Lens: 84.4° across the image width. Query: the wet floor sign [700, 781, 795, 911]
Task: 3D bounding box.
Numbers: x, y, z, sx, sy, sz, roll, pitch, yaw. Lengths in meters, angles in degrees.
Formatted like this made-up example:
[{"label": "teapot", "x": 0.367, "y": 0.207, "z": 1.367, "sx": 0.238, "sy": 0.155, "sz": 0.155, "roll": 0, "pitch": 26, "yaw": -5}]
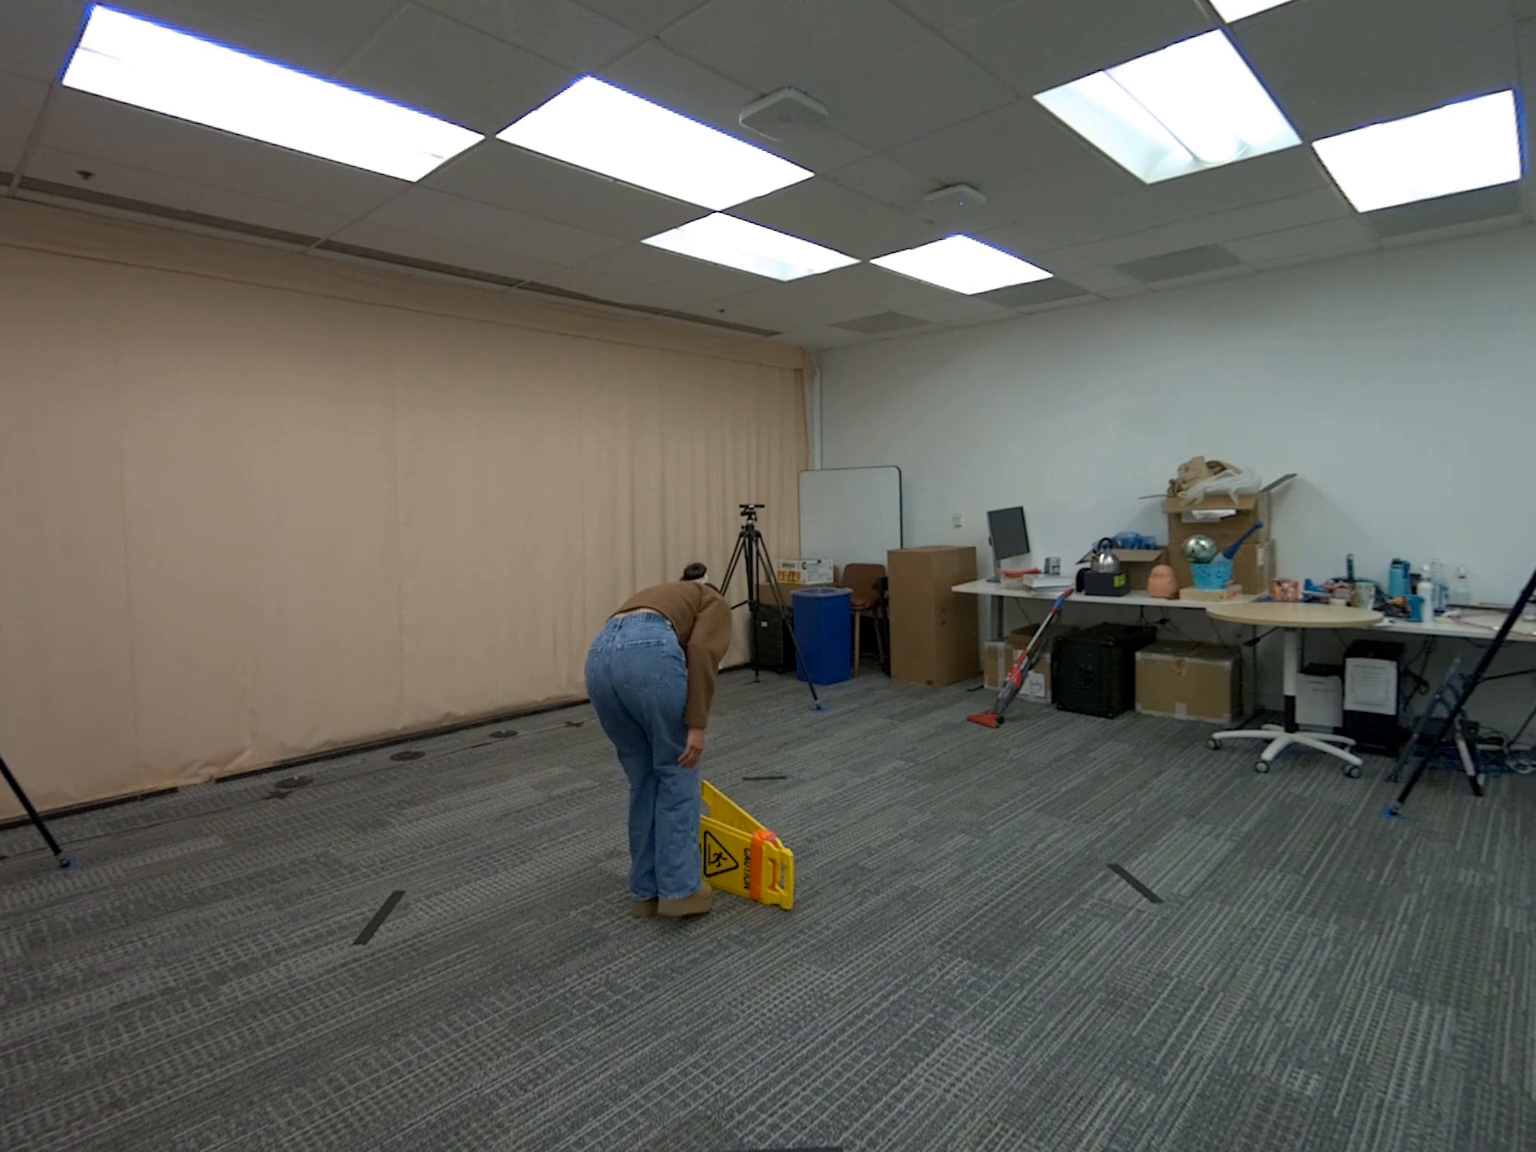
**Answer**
[{"label": "wet floor sign", "x": -0.138, "y": 1.005, "z": 3.107, "sx": 0.281, "sy": 0.281, "sz": 0.668, "roll": -4, "pitch": 8, "yaw": -42}]
